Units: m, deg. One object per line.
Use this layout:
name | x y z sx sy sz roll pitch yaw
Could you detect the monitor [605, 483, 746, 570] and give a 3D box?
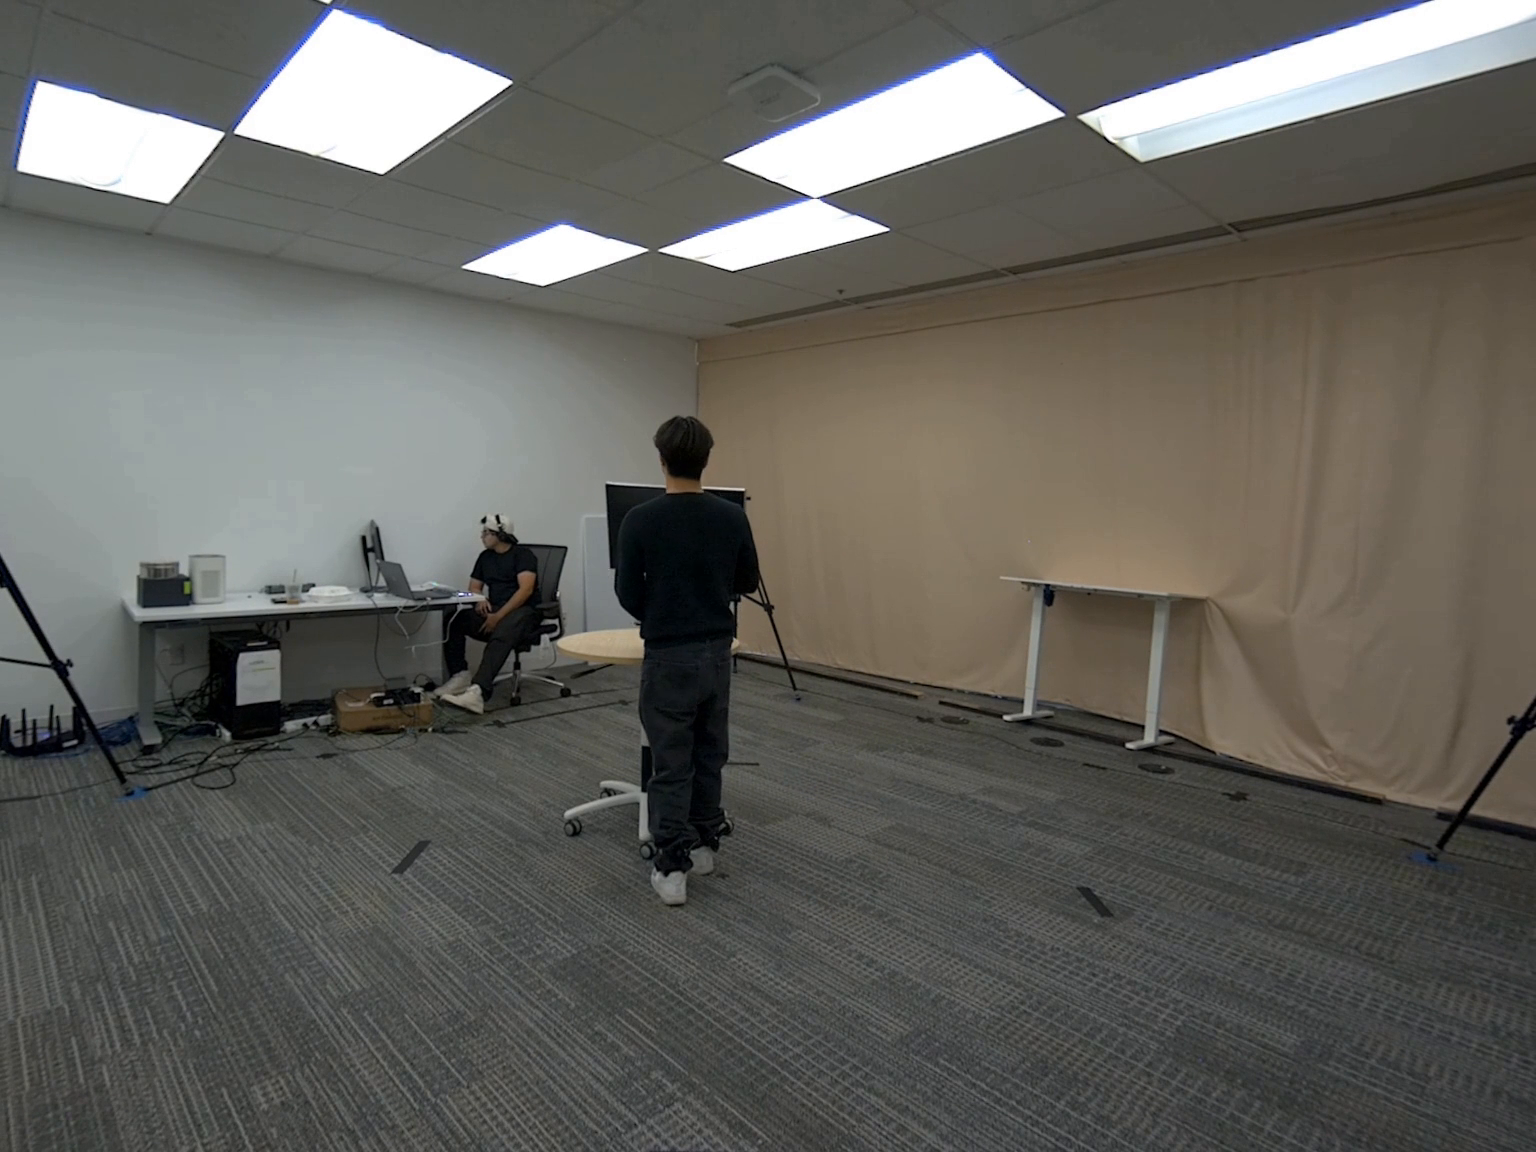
monitor | -0.376 -0.075 3.282 0.535 0.515 0.173 3 3 11
